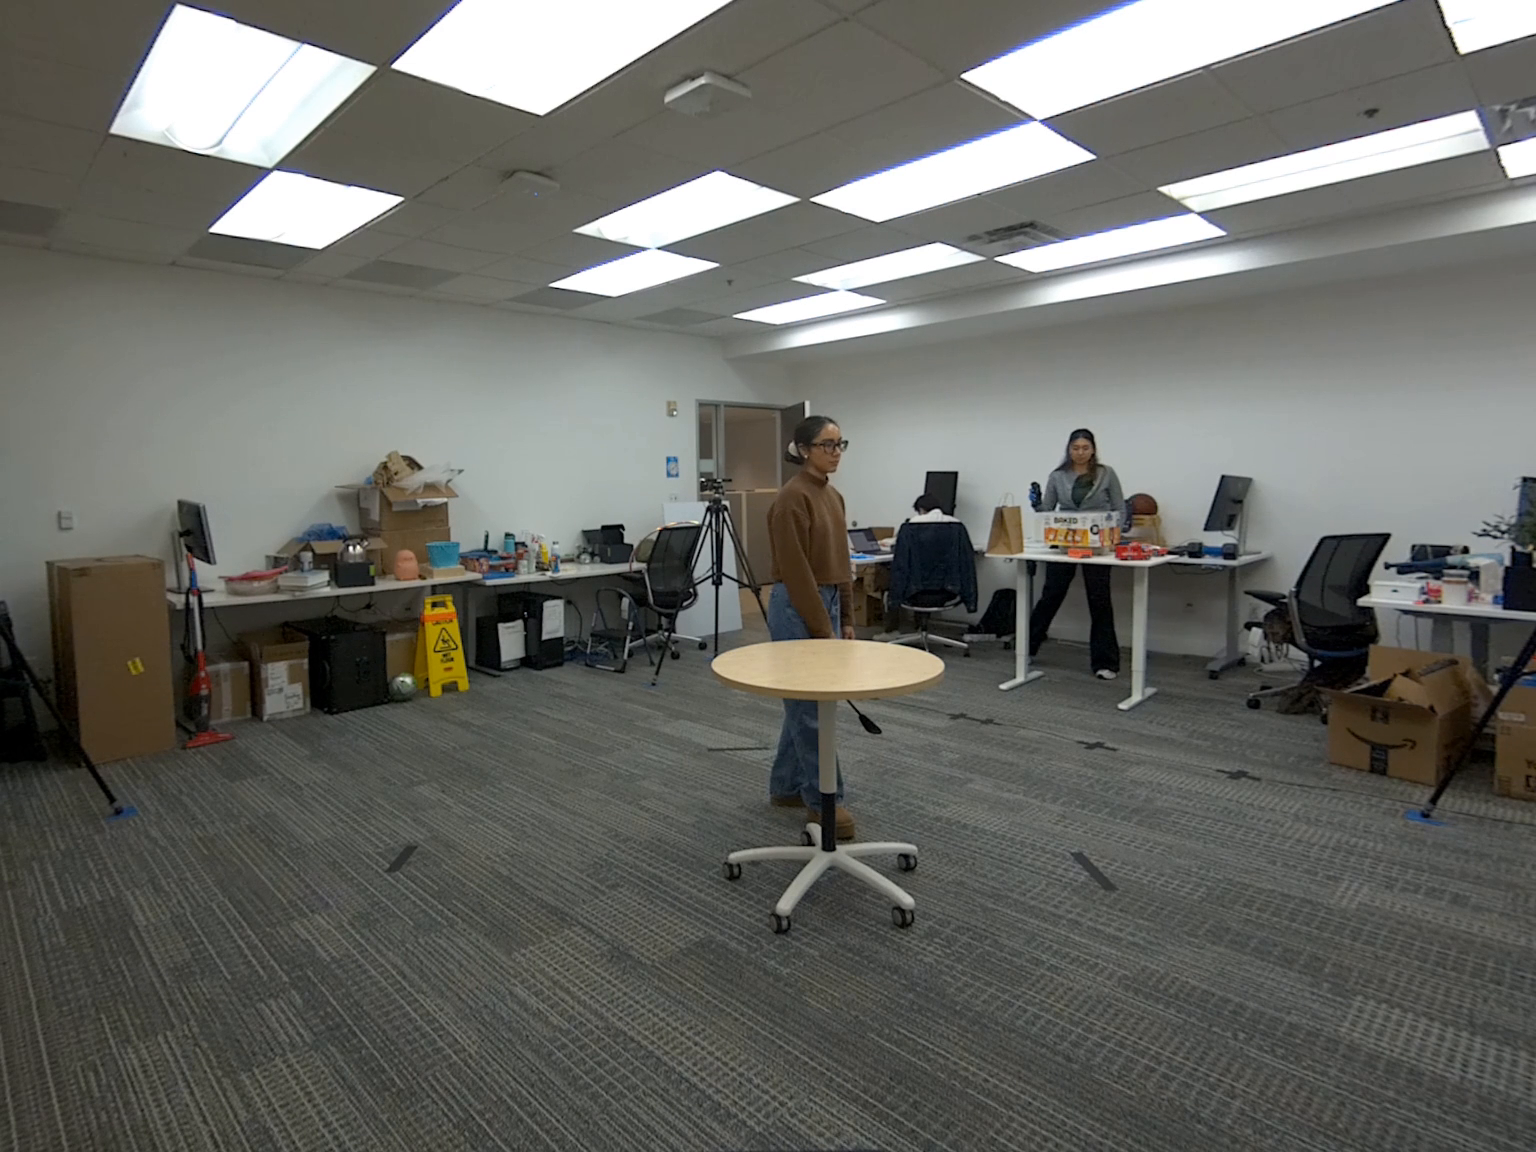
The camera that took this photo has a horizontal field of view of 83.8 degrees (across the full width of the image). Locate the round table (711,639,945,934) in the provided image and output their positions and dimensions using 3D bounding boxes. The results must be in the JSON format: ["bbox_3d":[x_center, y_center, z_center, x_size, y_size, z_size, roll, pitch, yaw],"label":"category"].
[{"bbox_3d":[0.207,0.681,2.874,0.763,0.790,0.768,-1,5,-2],"label":"round table"}]
